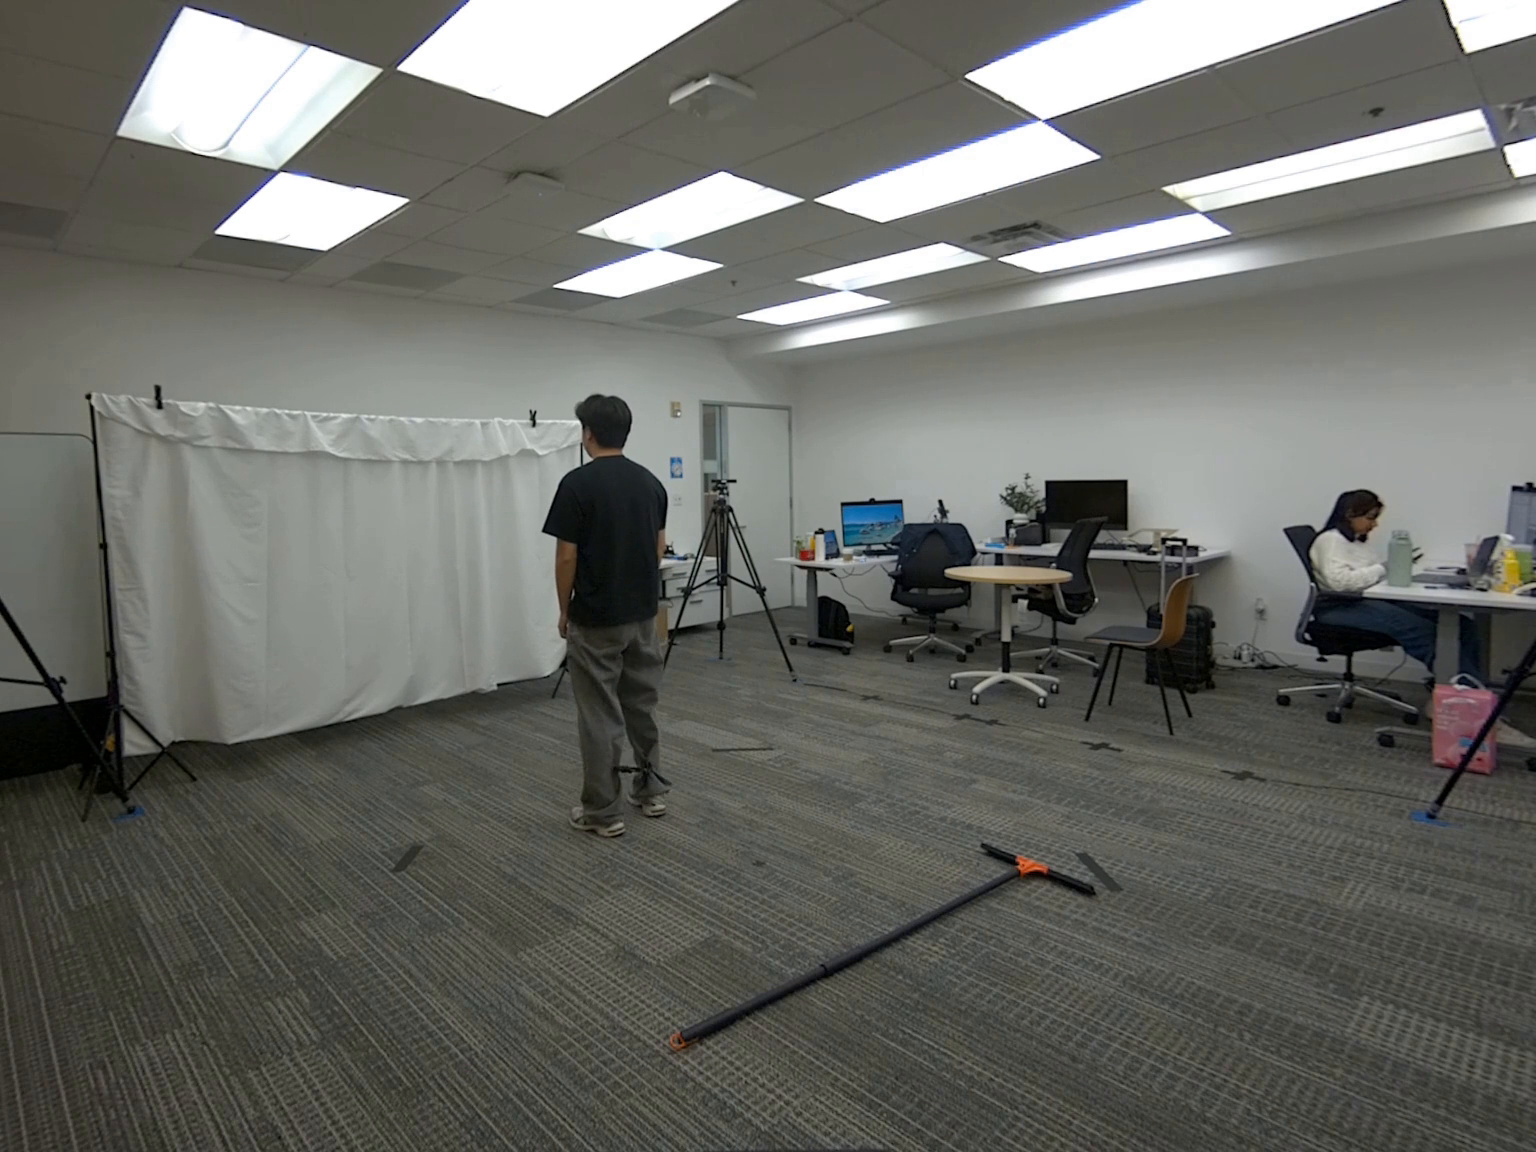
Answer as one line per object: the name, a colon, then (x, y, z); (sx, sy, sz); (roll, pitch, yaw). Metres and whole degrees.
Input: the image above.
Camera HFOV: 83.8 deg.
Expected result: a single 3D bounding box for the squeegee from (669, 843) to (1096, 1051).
squeegee: (0.365, 1.062, 2.553); (1.499, 0.053, 0.451); (-7, 8, -38)
